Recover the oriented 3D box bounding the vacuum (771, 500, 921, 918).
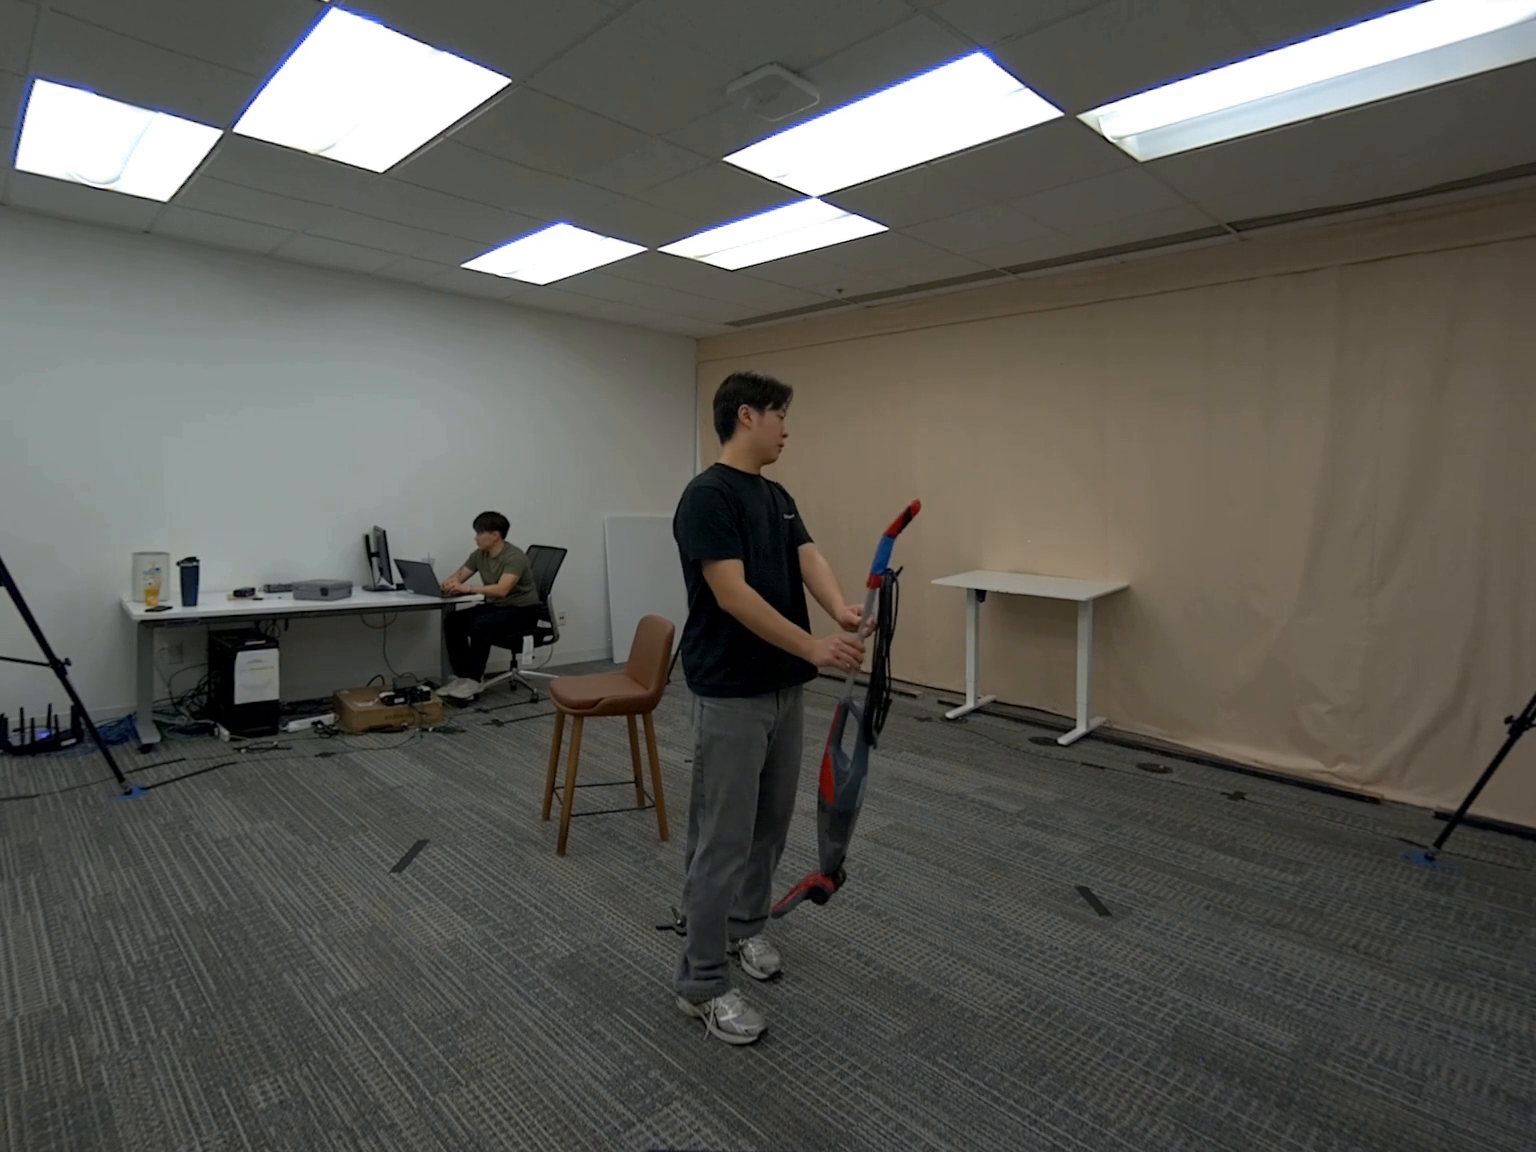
[{"bbox_3d":[0.231,0.324,2.088,0.148,1.042,0.247,21,15,37],"label":"vacuum"}]
